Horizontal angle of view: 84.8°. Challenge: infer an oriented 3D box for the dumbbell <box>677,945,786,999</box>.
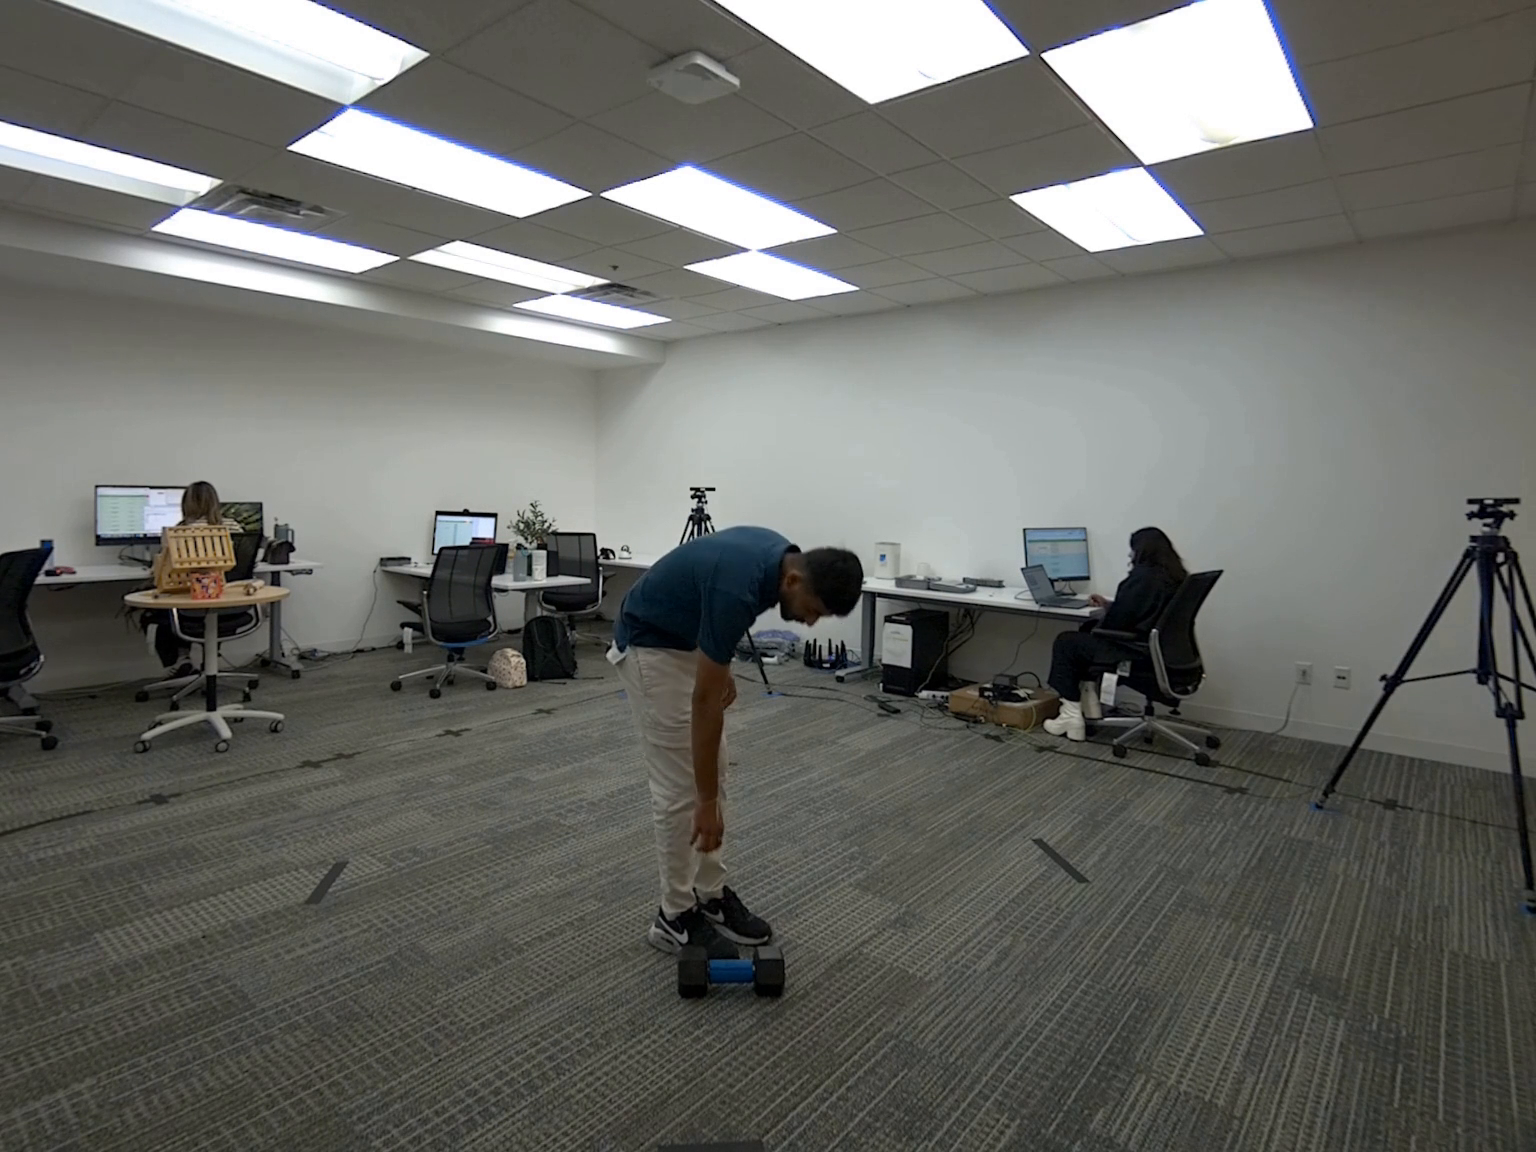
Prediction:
[{"bbox_3d":[-0.105,1.094,2.346,0.292,0.120,0.112,1,33,-4],"label":"dumbbell"}]
